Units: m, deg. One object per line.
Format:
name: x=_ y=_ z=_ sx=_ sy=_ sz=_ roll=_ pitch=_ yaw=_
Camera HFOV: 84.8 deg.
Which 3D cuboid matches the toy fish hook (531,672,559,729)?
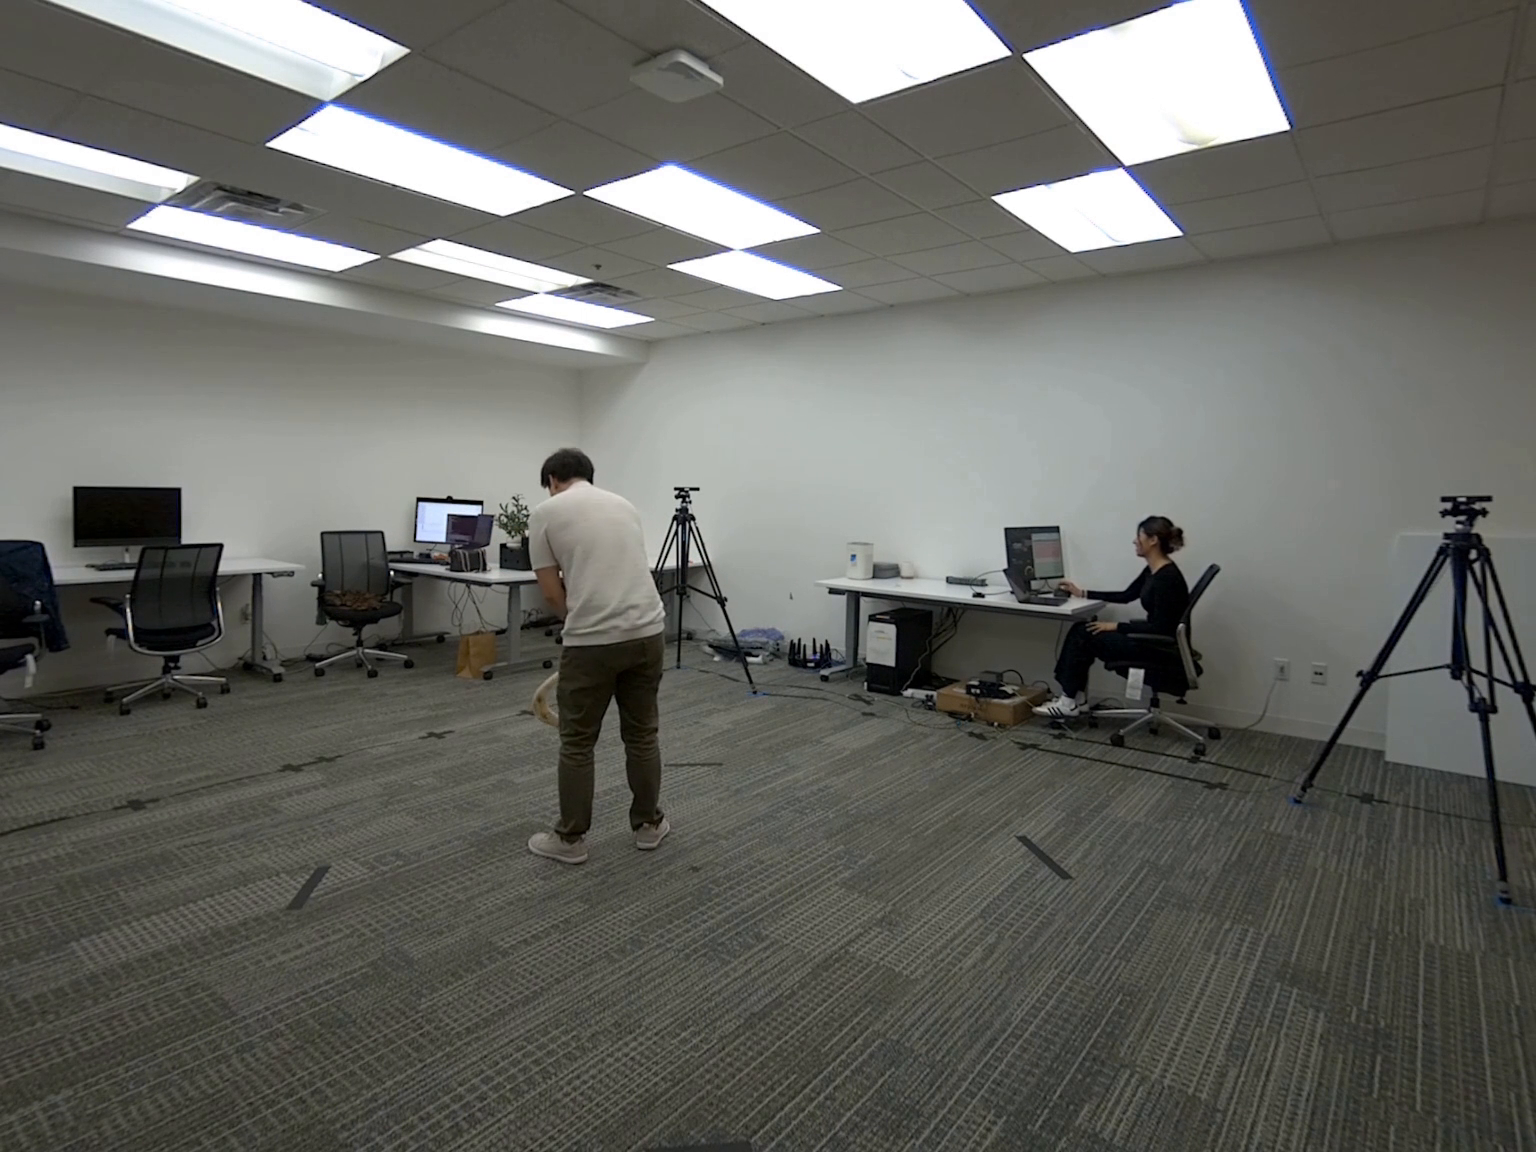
toy fish hook: x=-0.805 y=0.421 z=3.479 sx=0.220 sy=0.505 sz=0.049 roll=31 pitch=23 yaw=-15
